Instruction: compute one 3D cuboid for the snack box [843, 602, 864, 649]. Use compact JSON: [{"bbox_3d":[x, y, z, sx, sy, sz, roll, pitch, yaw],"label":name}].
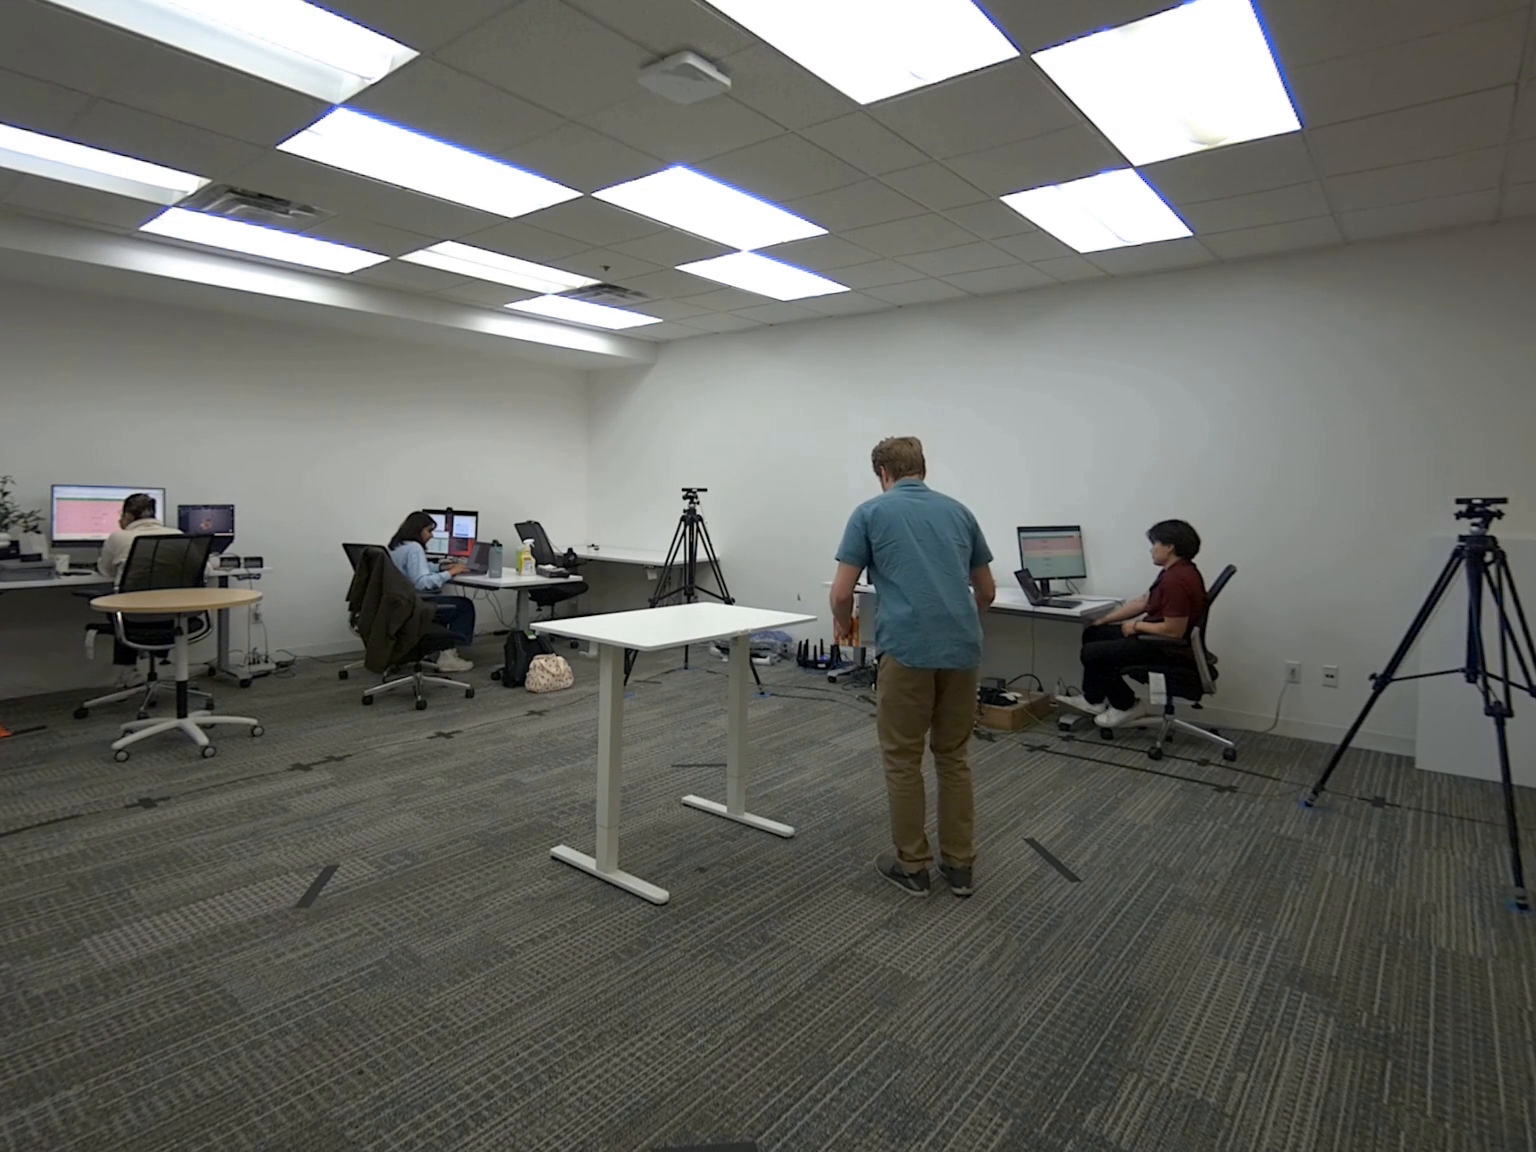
[{"bbox_3d":[0.504,0.172,3.385,0.400,0.206,0.343,0,-2,-12],"label":"snack box"}]
